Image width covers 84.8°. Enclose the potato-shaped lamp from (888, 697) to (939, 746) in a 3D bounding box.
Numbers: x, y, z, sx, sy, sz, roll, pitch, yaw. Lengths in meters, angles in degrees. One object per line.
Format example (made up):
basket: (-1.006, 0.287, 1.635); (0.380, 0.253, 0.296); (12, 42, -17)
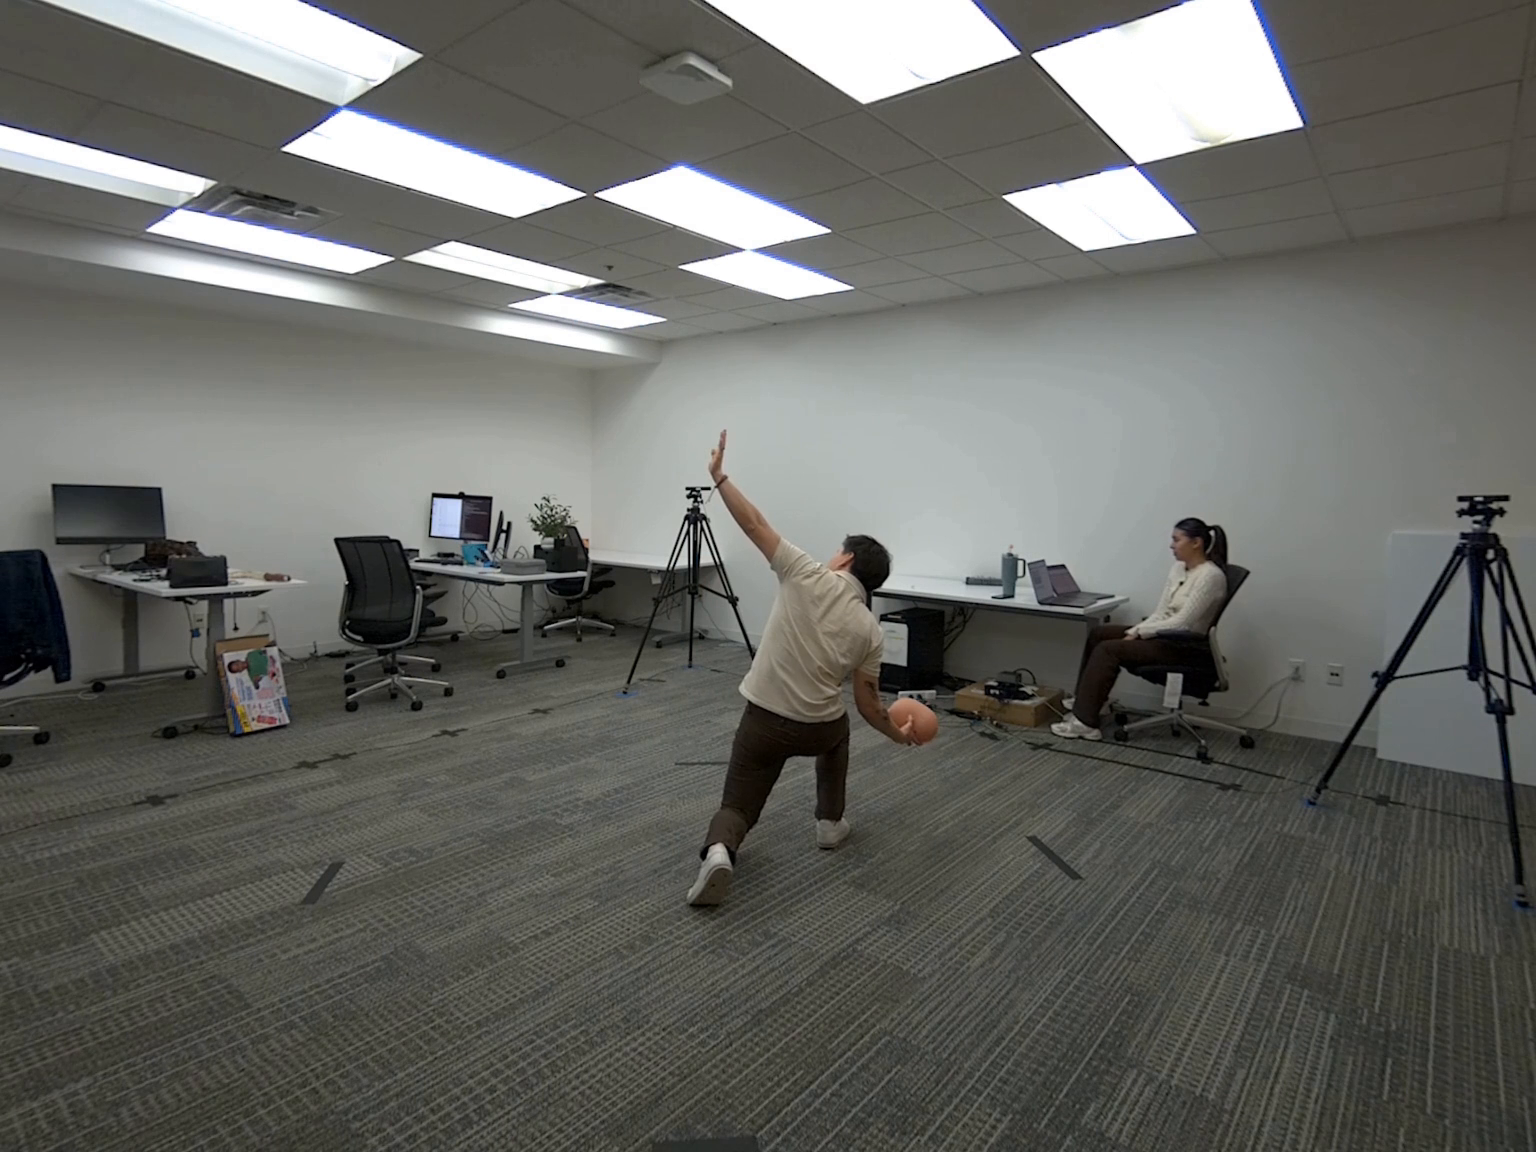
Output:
potato-shaped lamp: (0.586, 0.592, 3.486); (0.205, 0.160, 0.170); (24, 42, 31)
